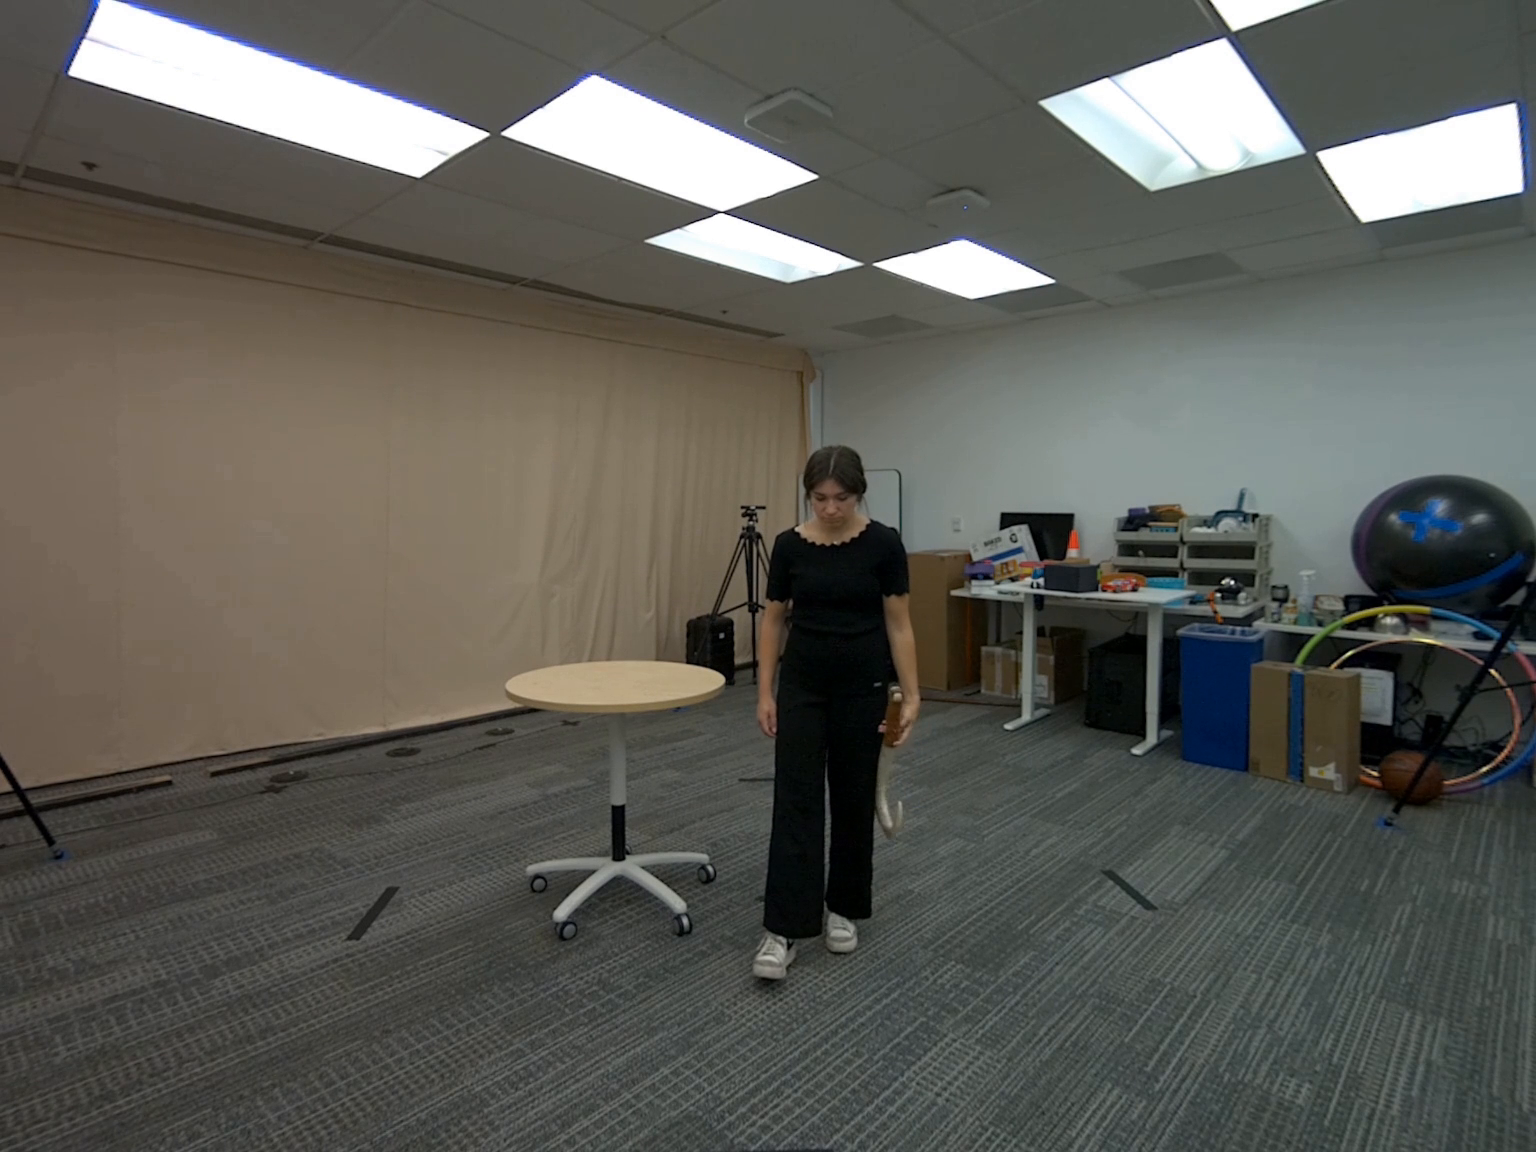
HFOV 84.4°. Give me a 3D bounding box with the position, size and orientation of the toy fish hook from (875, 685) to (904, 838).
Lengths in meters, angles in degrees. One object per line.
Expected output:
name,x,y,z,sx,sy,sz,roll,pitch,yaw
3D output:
toy fish hook,0.380,0.574,2.511,0.048,0.499,0.230,-6,27,-12
